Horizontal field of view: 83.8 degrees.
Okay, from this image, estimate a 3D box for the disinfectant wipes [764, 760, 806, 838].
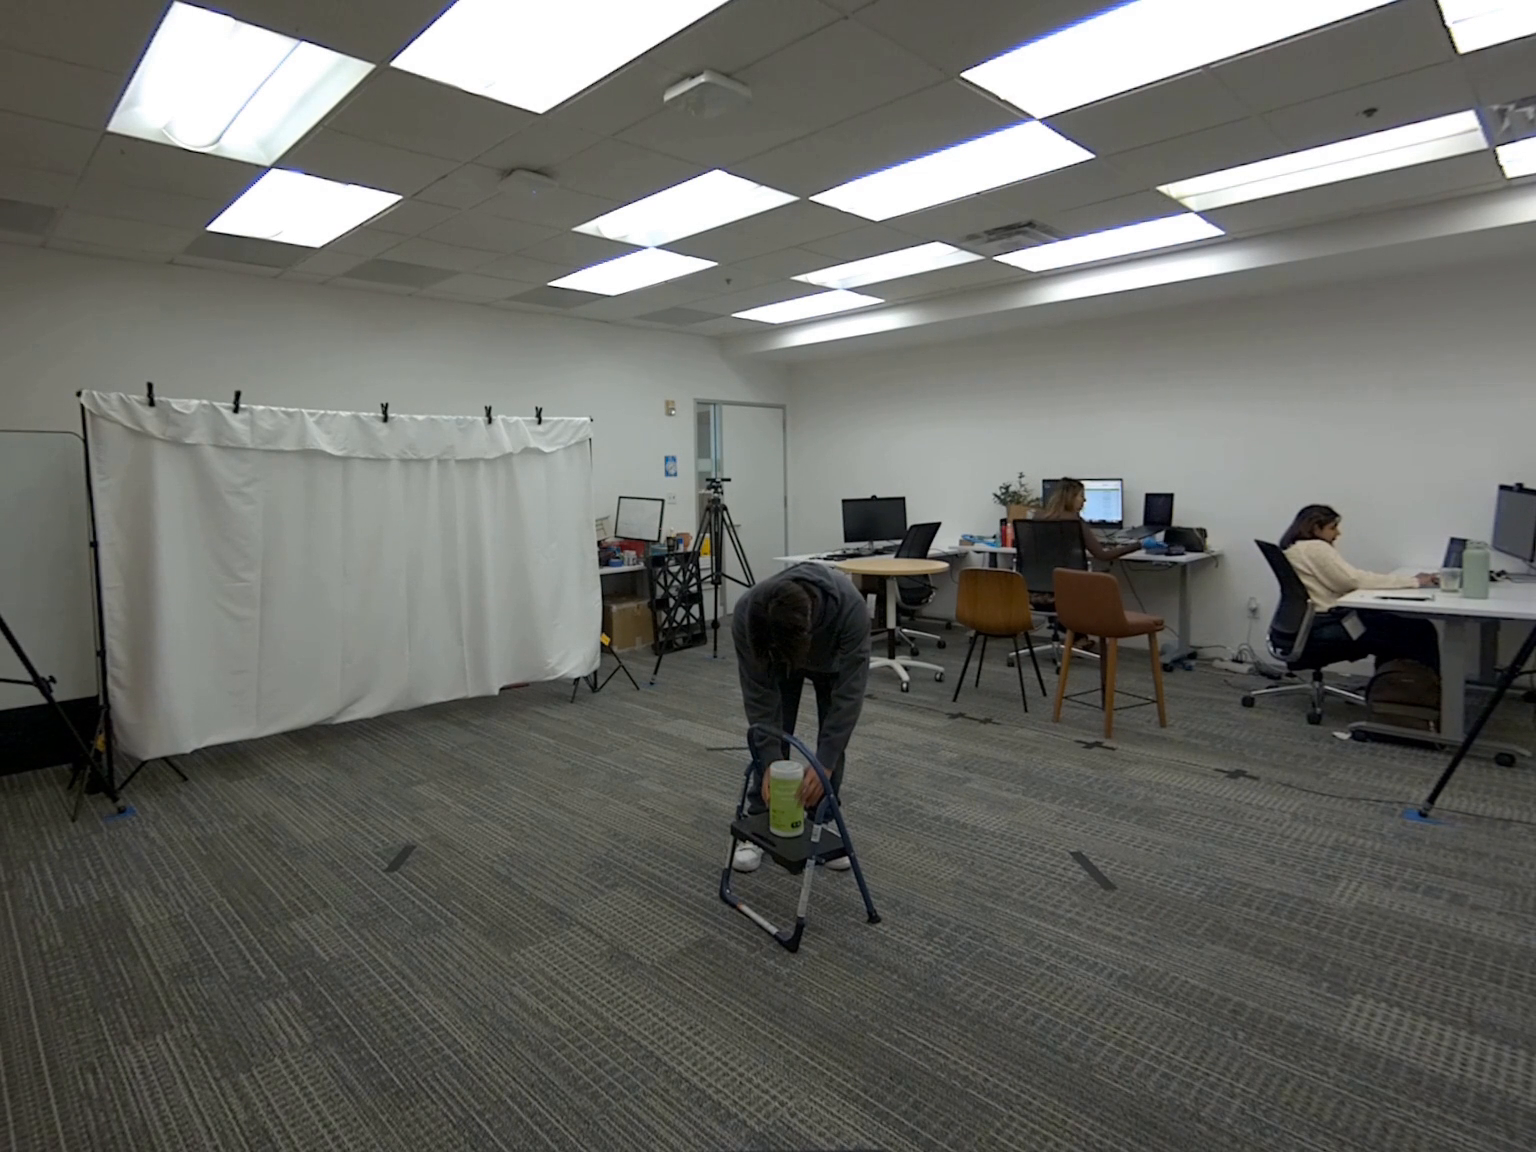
[{"bbox_3d":[0.062,0.720,2.742,0.118,0.217,0.118,0,4,-2],"label":"disinfectant wipes"}]
